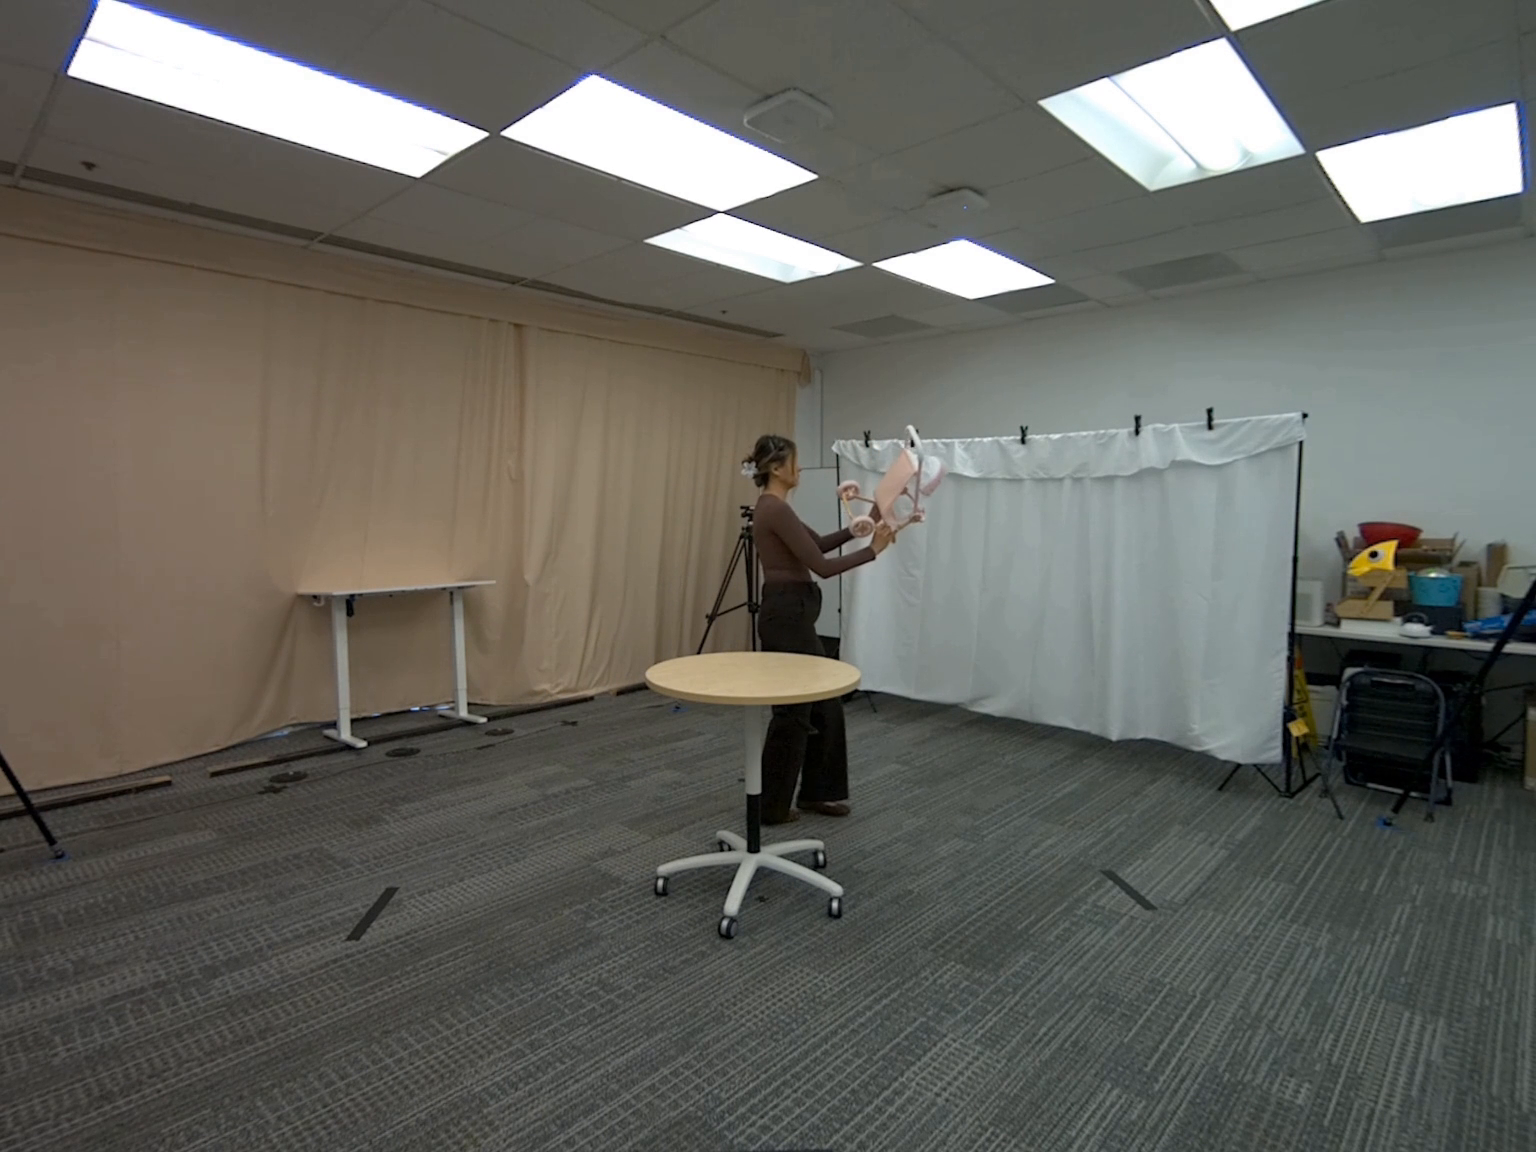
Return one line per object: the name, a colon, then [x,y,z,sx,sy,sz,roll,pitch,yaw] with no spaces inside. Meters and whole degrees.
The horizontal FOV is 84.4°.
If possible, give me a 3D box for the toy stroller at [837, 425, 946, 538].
toy stroller: [0.569,-0.343,3.615,0.332,0.539,0.287,28,33,-26]
